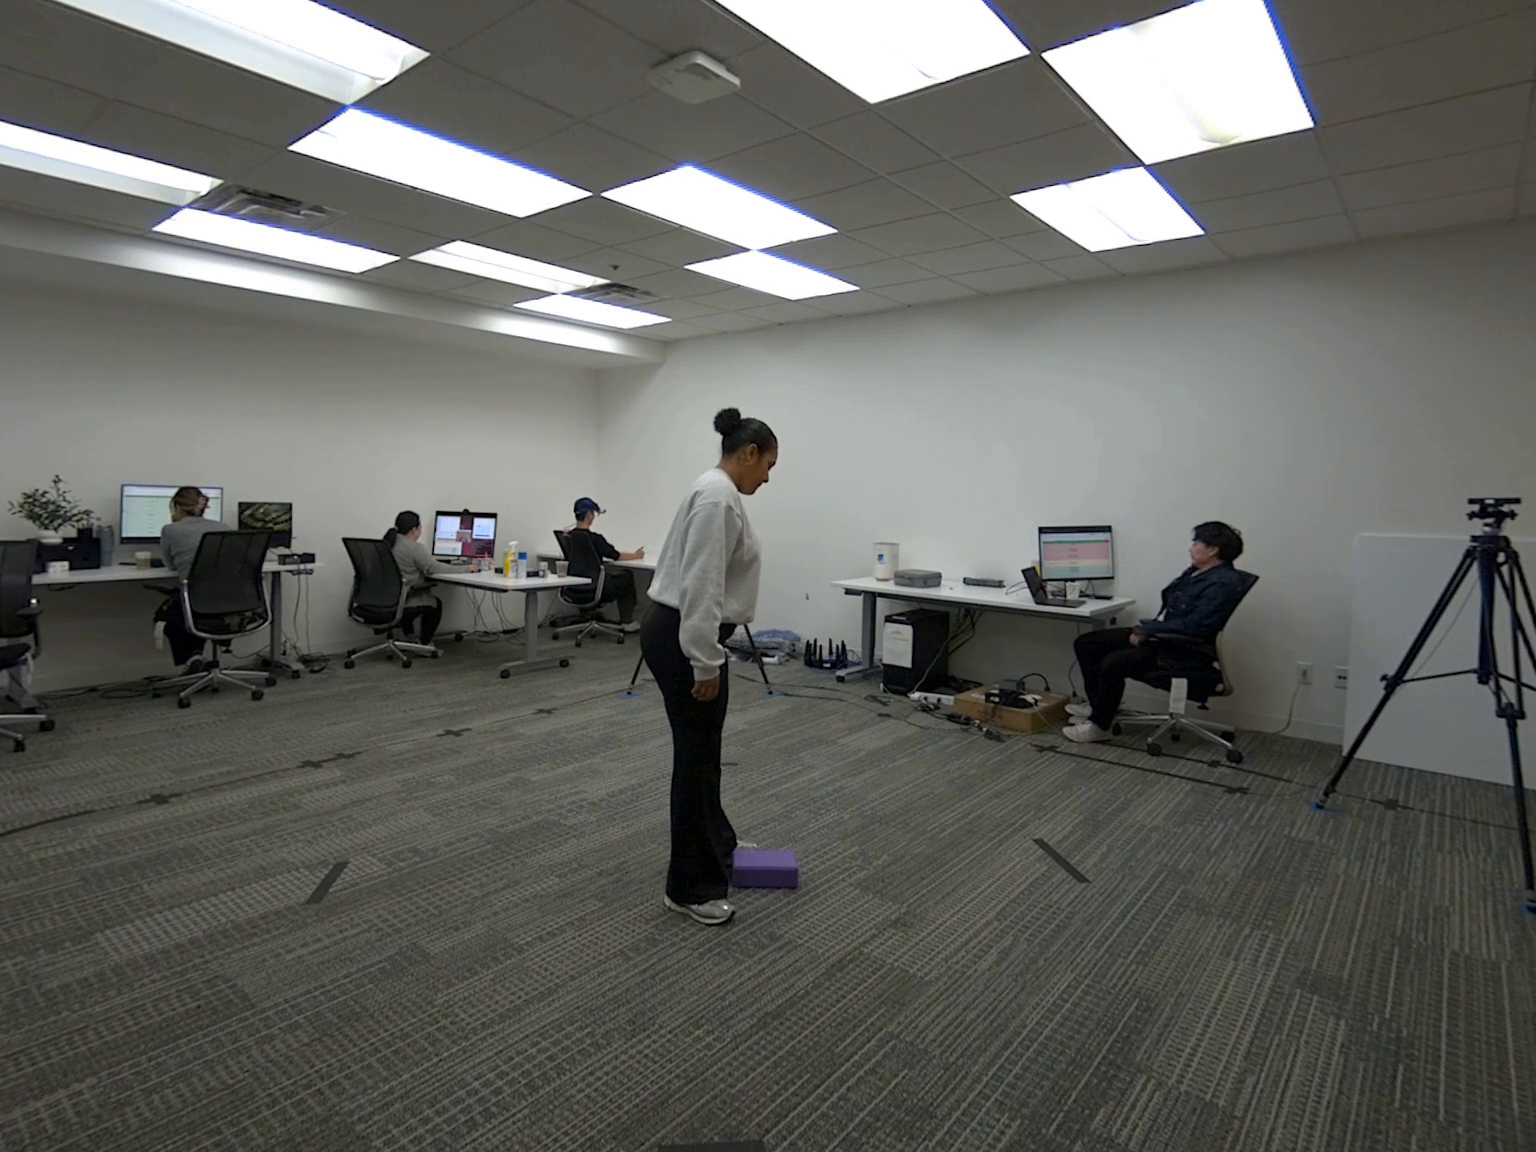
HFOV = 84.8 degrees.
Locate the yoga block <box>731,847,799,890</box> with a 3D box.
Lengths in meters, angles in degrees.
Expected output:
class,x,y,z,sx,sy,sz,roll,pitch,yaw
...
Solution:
class,x,y,z,sx,sy,sz,roll,pitch,yaw
yoga block,-0.022,1.036,3.030,0.229,0.076,0.149,1,2,-2
